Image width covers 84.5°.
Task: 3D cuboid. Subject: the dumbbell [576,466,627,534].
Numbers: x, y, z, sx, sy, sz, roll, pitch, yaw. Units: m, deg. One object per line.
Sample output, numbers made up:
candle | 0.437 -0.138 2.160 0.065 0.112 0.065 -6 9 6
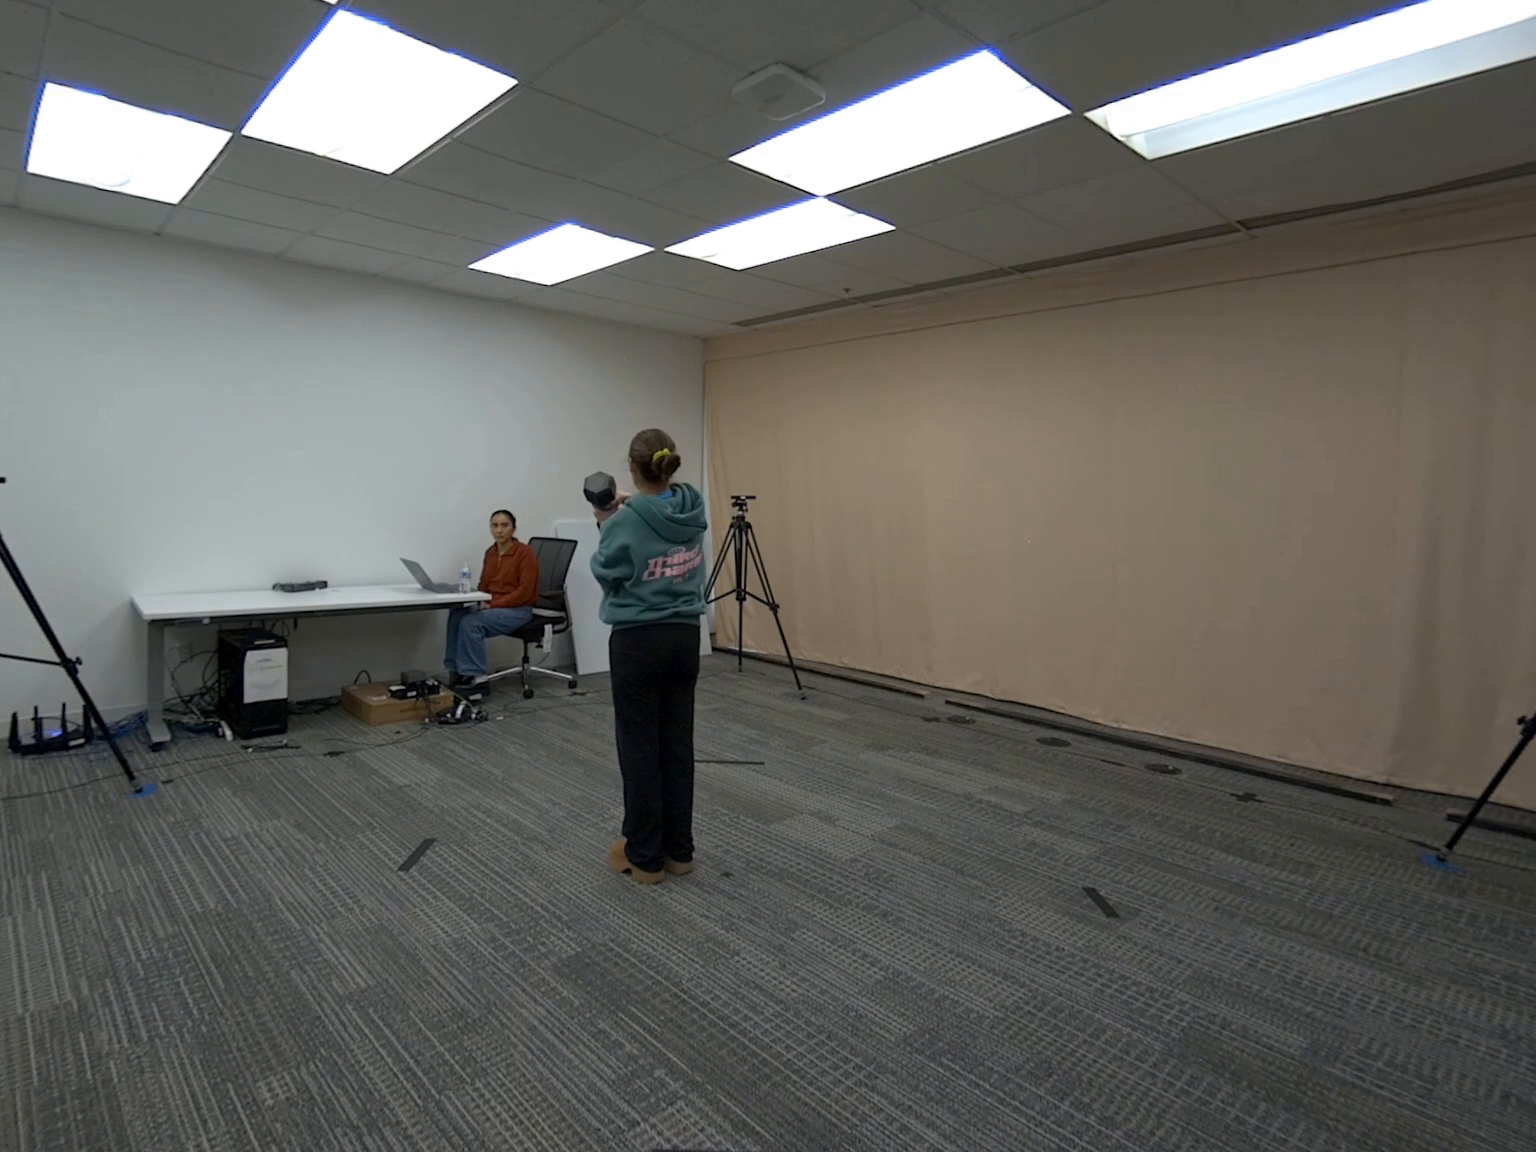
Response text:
dumbbell | -0.604 -0.262 3.182 0.125 0.109 0.287 28 -25 20
